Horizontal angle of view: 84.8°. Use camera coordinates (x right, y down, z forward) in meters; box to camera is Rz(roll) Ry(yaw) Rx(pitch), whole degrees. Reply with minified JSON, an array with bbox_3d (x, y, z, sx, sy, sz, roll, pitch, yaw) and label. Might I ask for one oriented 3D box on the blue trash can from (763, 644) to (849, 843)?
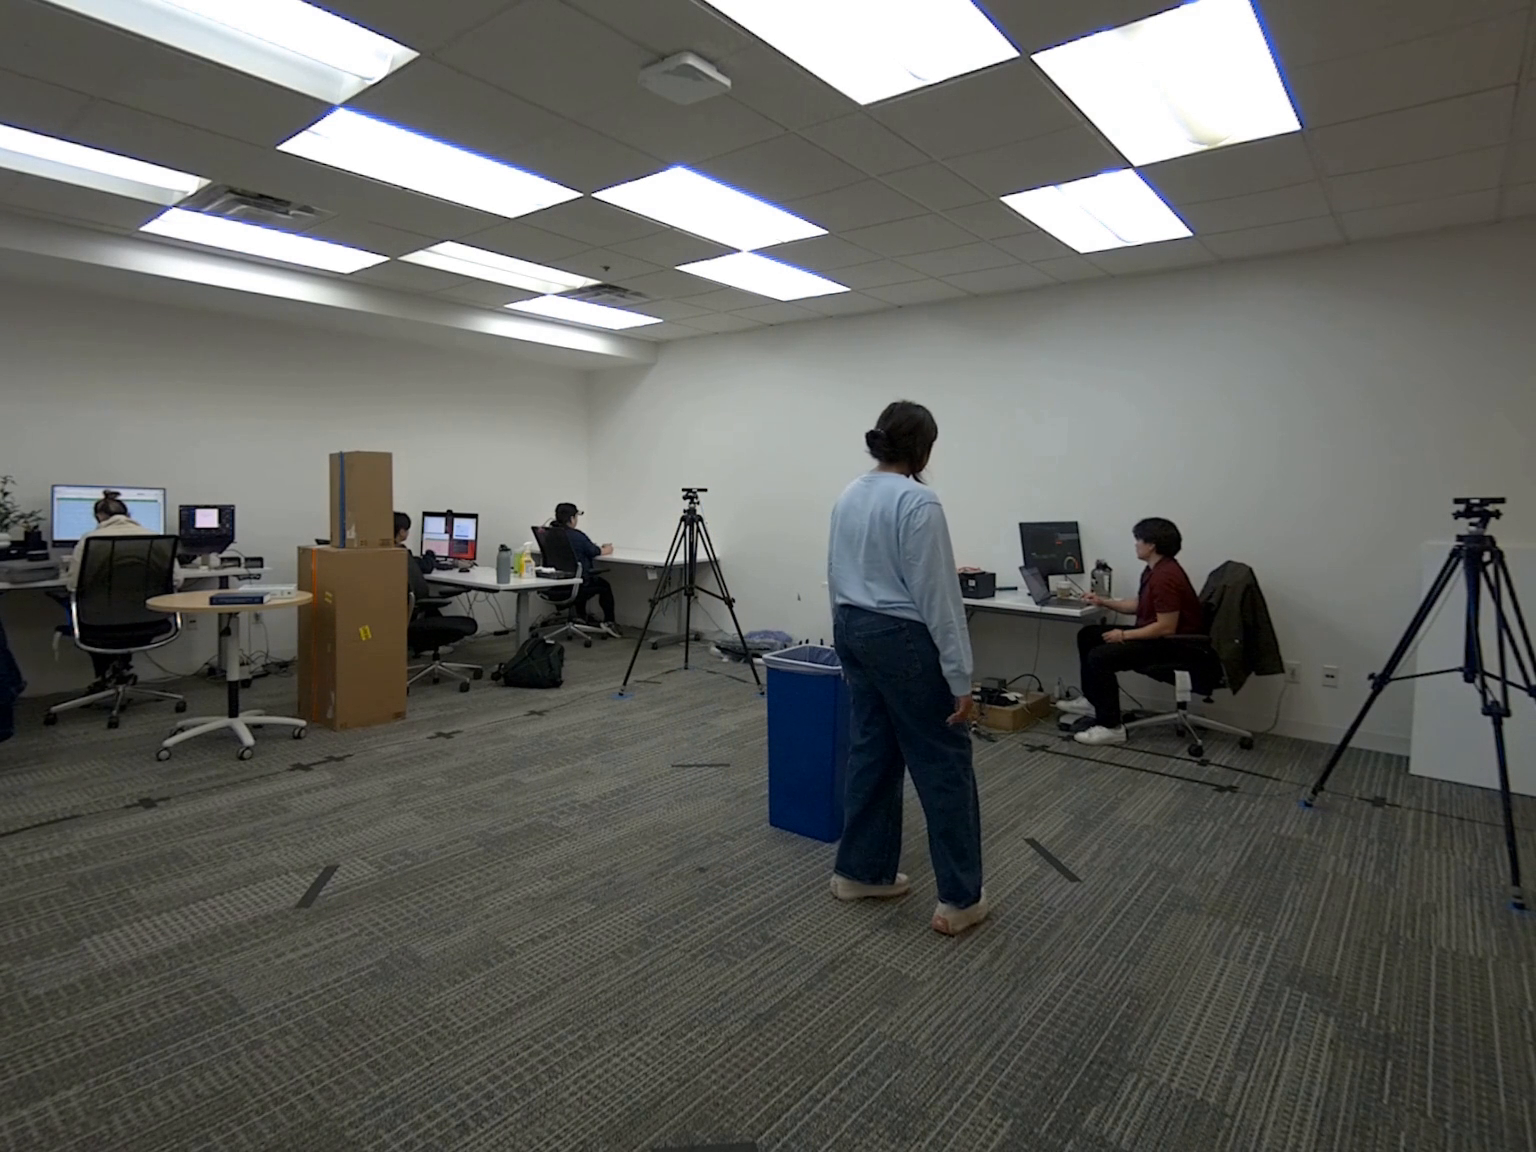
[{"bbox_3d":[0.195,0.678,3.548,0.386,0.711,0.367,4,5,35],"label":"blue trash can"}]
